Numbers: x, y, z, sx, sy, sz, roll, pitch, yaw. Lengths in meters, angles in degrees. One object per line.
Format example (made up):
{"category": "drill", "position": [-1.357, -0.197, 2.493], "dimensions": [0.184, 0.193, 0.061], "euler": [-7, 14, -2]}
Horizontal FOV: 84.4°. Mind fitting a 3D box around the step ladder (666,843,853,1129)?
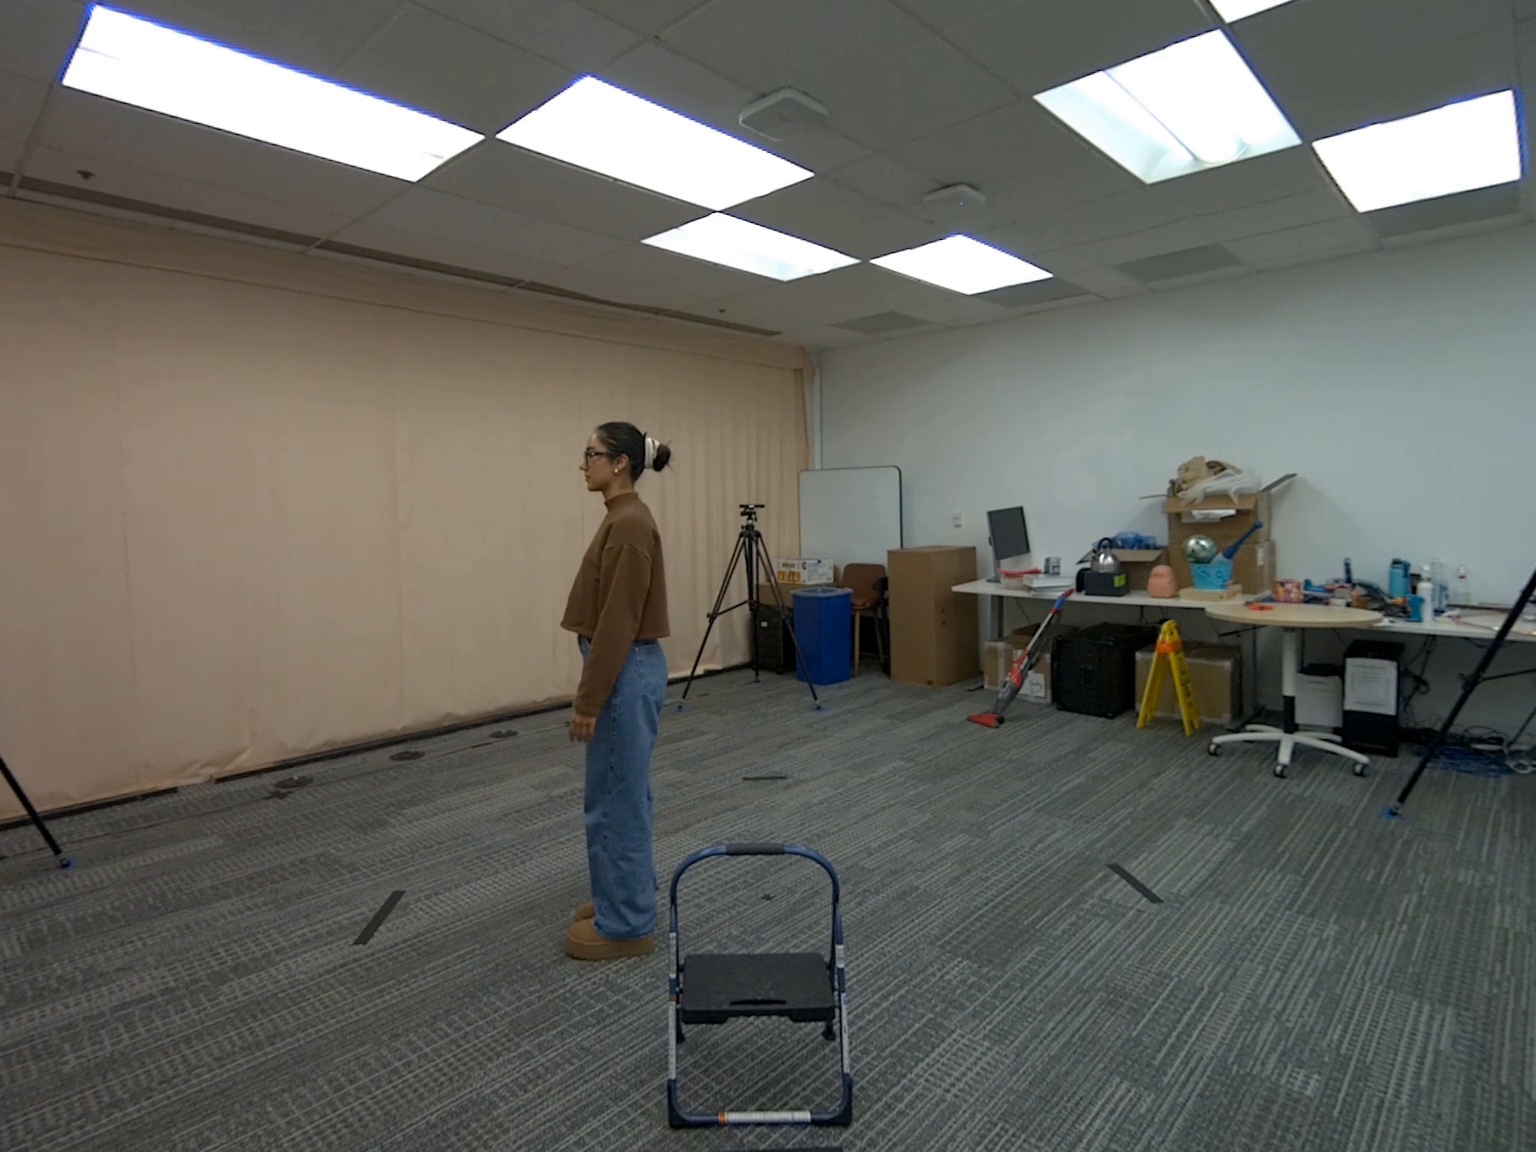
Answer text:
{"category": "step ladder", "position": [-0.030, 0.922, 2.029], "dimensions": [0.430, 0.605, 0.350], "euler": [-1, 3, -2]}
